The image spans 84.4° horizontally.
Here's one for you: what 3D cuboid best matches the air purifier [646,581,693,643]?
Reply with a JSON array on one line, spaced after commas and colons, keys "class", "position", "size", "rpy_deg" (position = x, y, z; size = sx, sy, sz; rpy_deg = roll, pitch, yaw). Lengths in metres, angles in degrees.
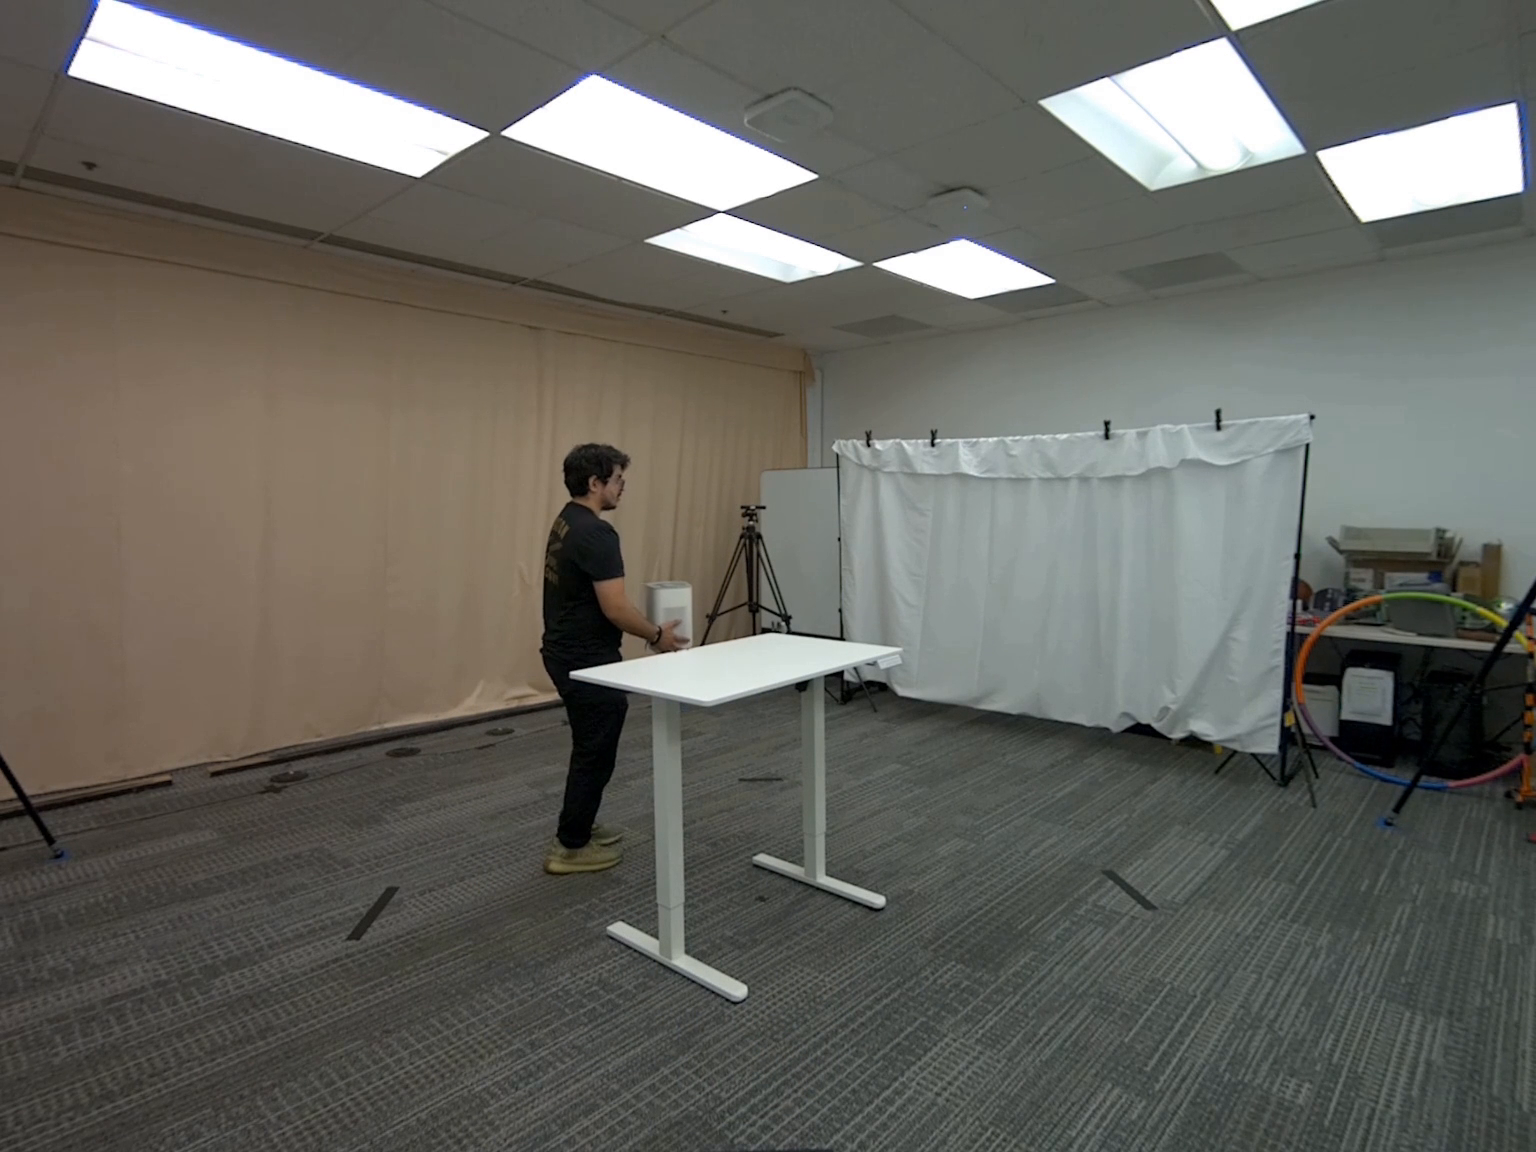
[{"class": "air purifier", "position": [-0.396, 0.165, 3.351], "size": [0.168, 0.264, 0.175], "rpy_deg": [-2, 6, -22]}]
